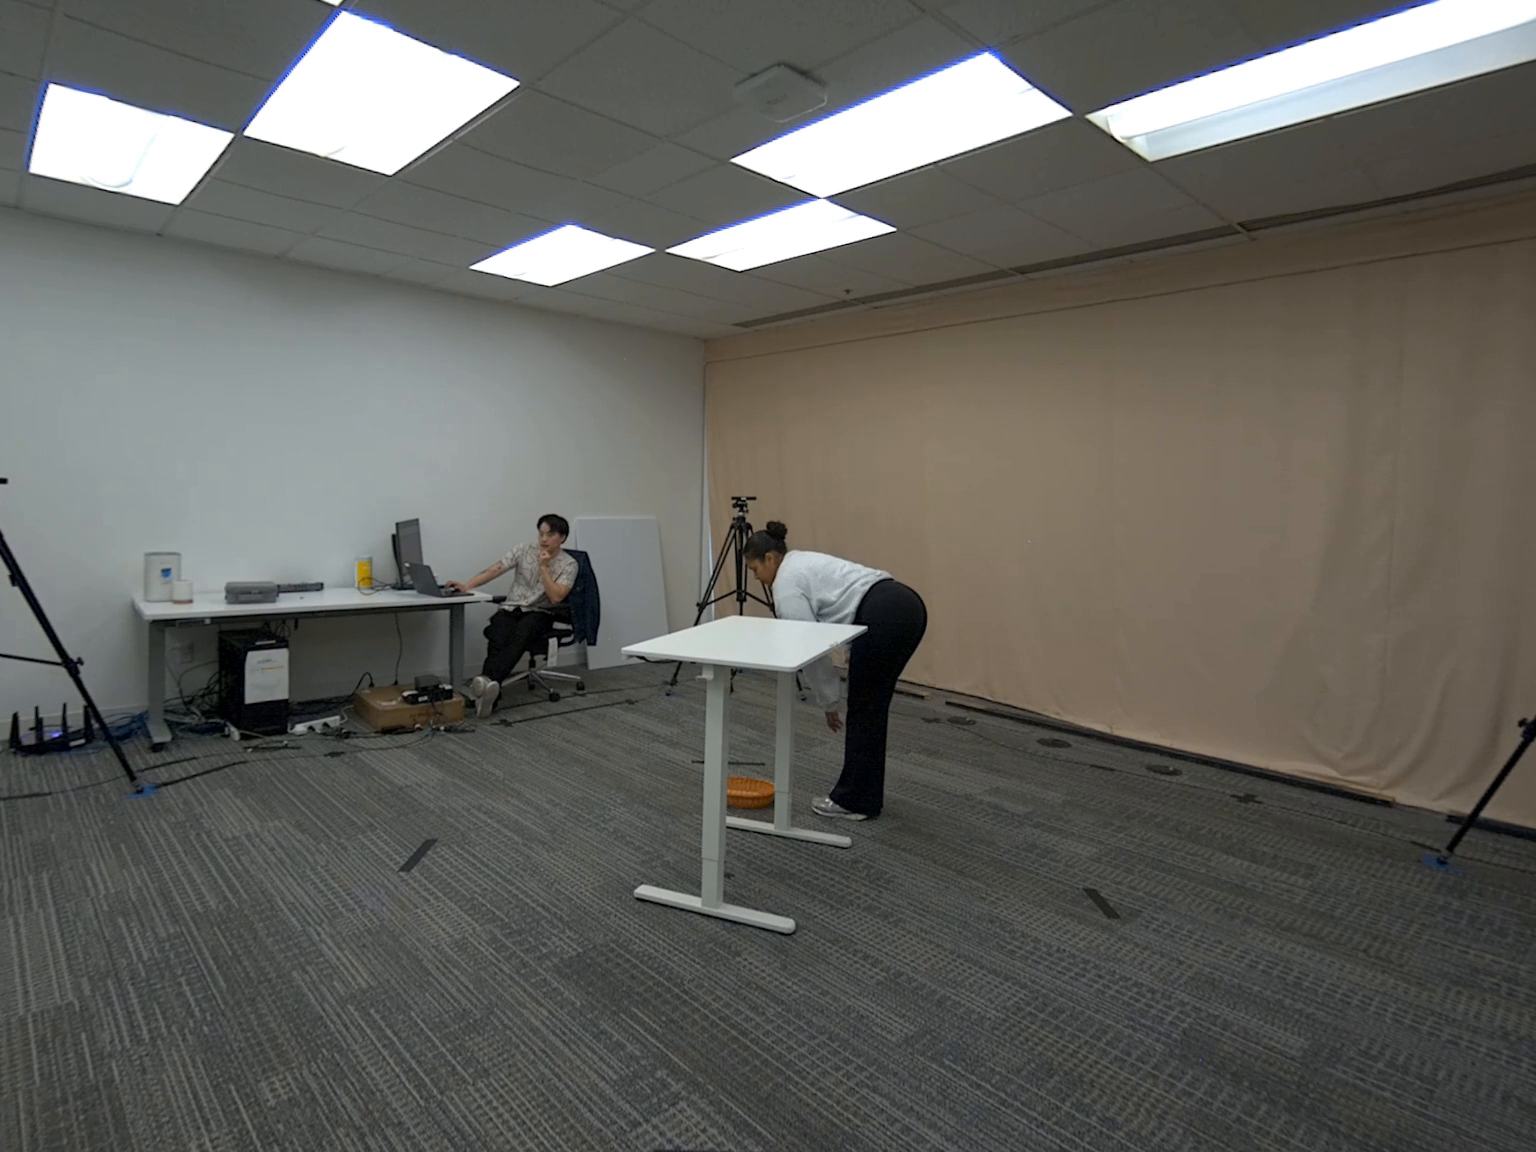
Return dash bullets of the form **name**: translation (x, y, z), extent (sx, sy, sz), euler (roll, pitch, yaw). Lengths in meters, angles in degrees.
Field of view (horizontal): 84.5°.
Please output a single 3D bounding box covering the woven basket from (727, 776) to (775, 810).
- **woven basket**: translation (-0.139, 0.997, 3.893), extent (0.354, 0.073, 0.250), euler (3, 5, 13)
